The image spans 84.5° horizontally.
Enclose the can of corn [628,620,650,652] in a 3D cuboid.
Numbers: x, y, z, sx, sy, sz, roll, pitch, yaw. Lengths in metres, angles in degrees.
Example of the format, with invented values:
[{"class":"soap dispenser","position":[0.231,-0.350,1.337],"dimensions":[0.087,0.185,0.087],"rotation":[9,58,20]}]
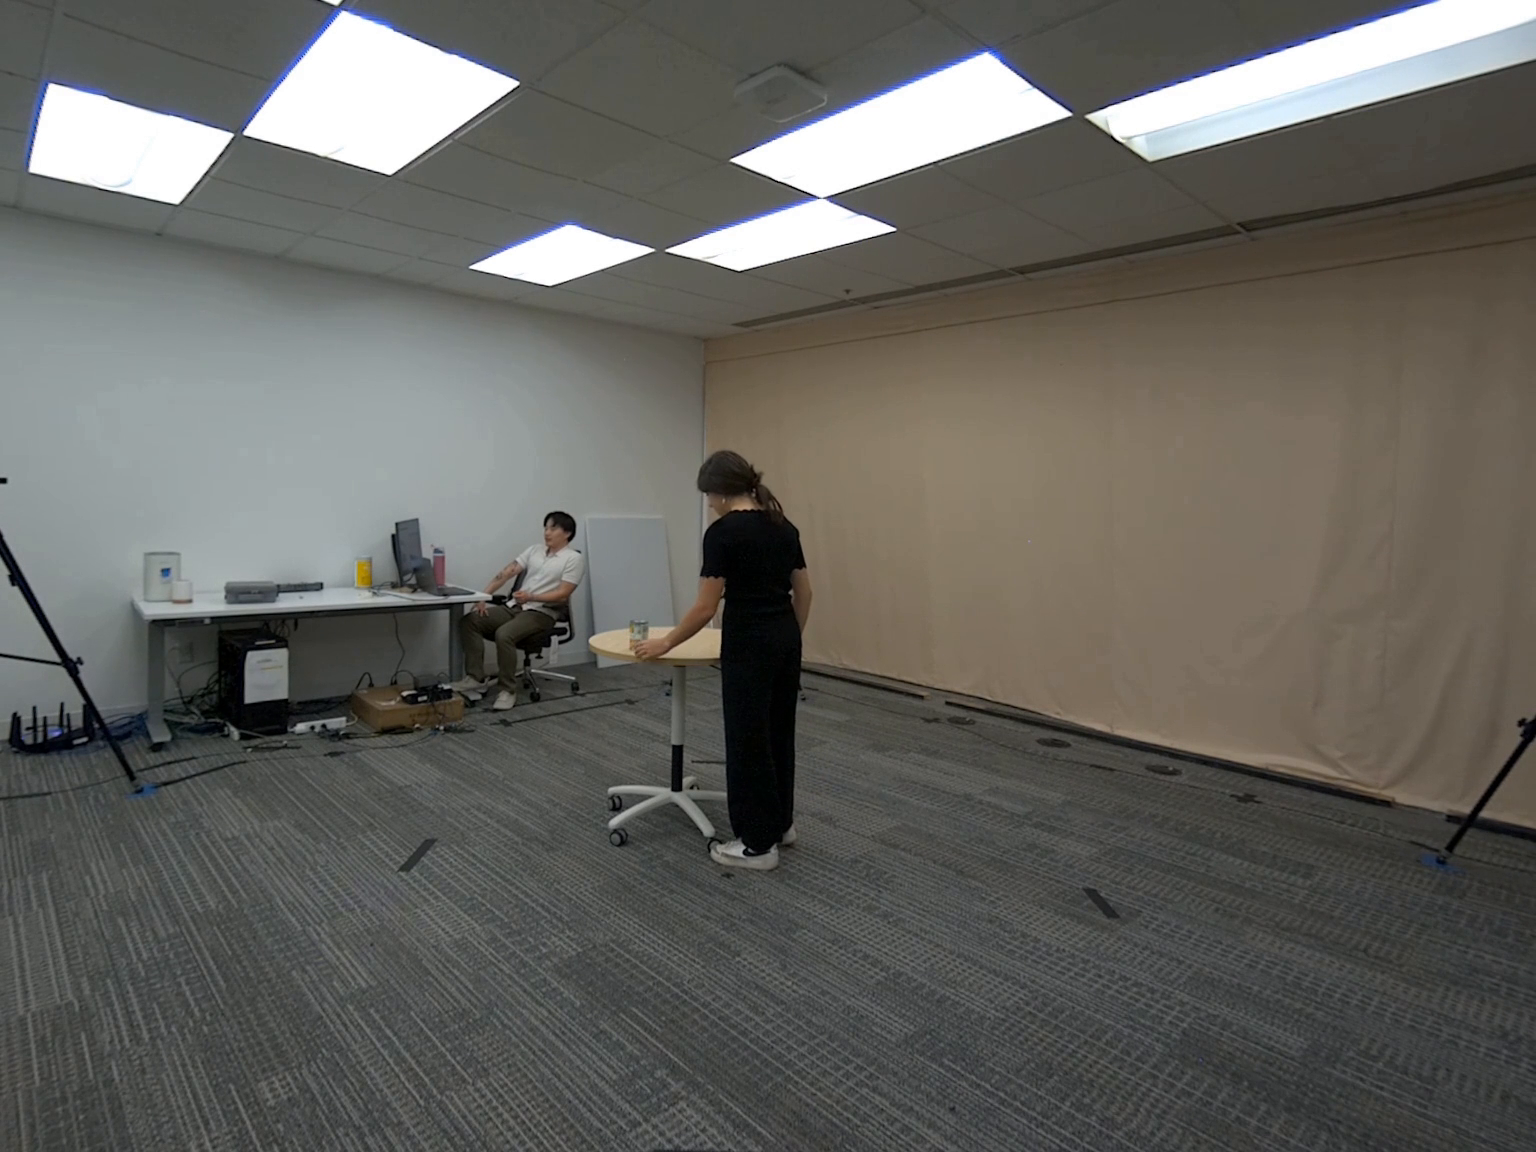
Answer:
[{"class":"can of corn","position":[-0.515,0.234,3.337],"dimensions":[0.074,0.111,0.074],"rotation":[3,4,-2]}]
